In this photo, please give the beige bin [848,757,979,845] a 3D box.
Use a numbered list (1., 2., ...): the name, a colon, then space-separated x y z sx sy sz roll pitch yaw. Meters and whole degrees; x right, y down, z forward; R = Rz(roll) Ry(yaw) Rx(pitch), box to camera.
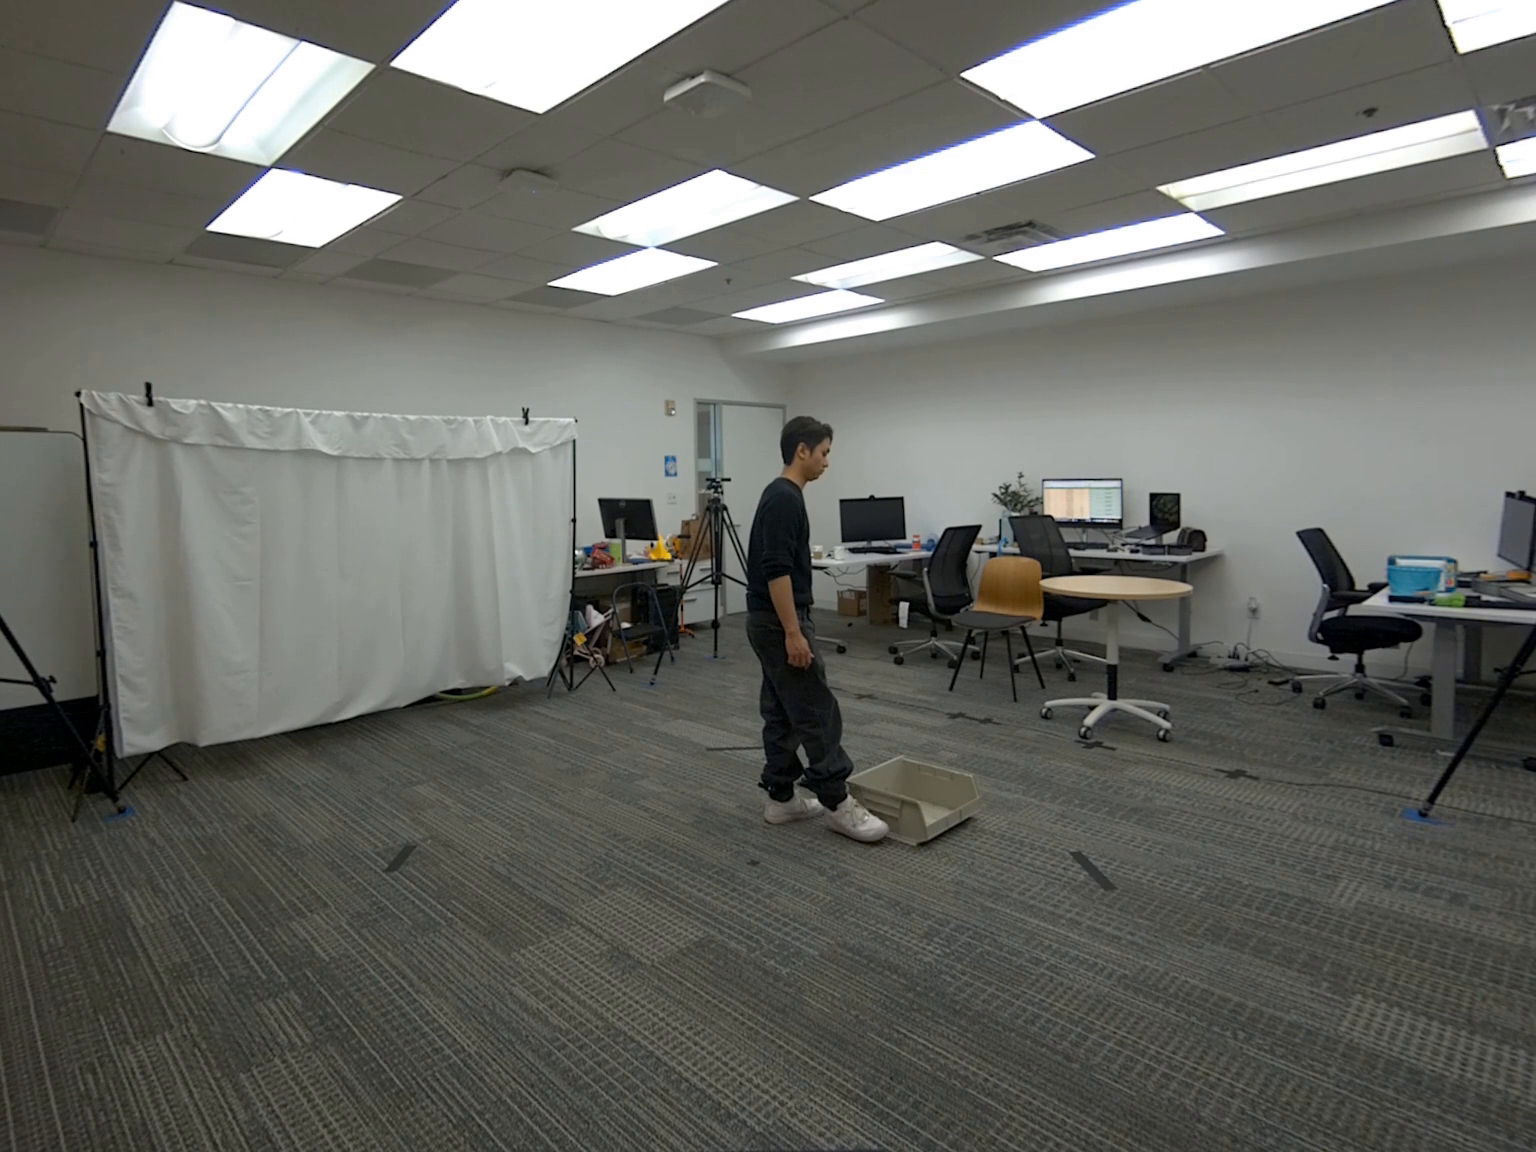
1. beige bin: 0.586 0.902 3.452 0.389 0.188 0.411 3 8 43
